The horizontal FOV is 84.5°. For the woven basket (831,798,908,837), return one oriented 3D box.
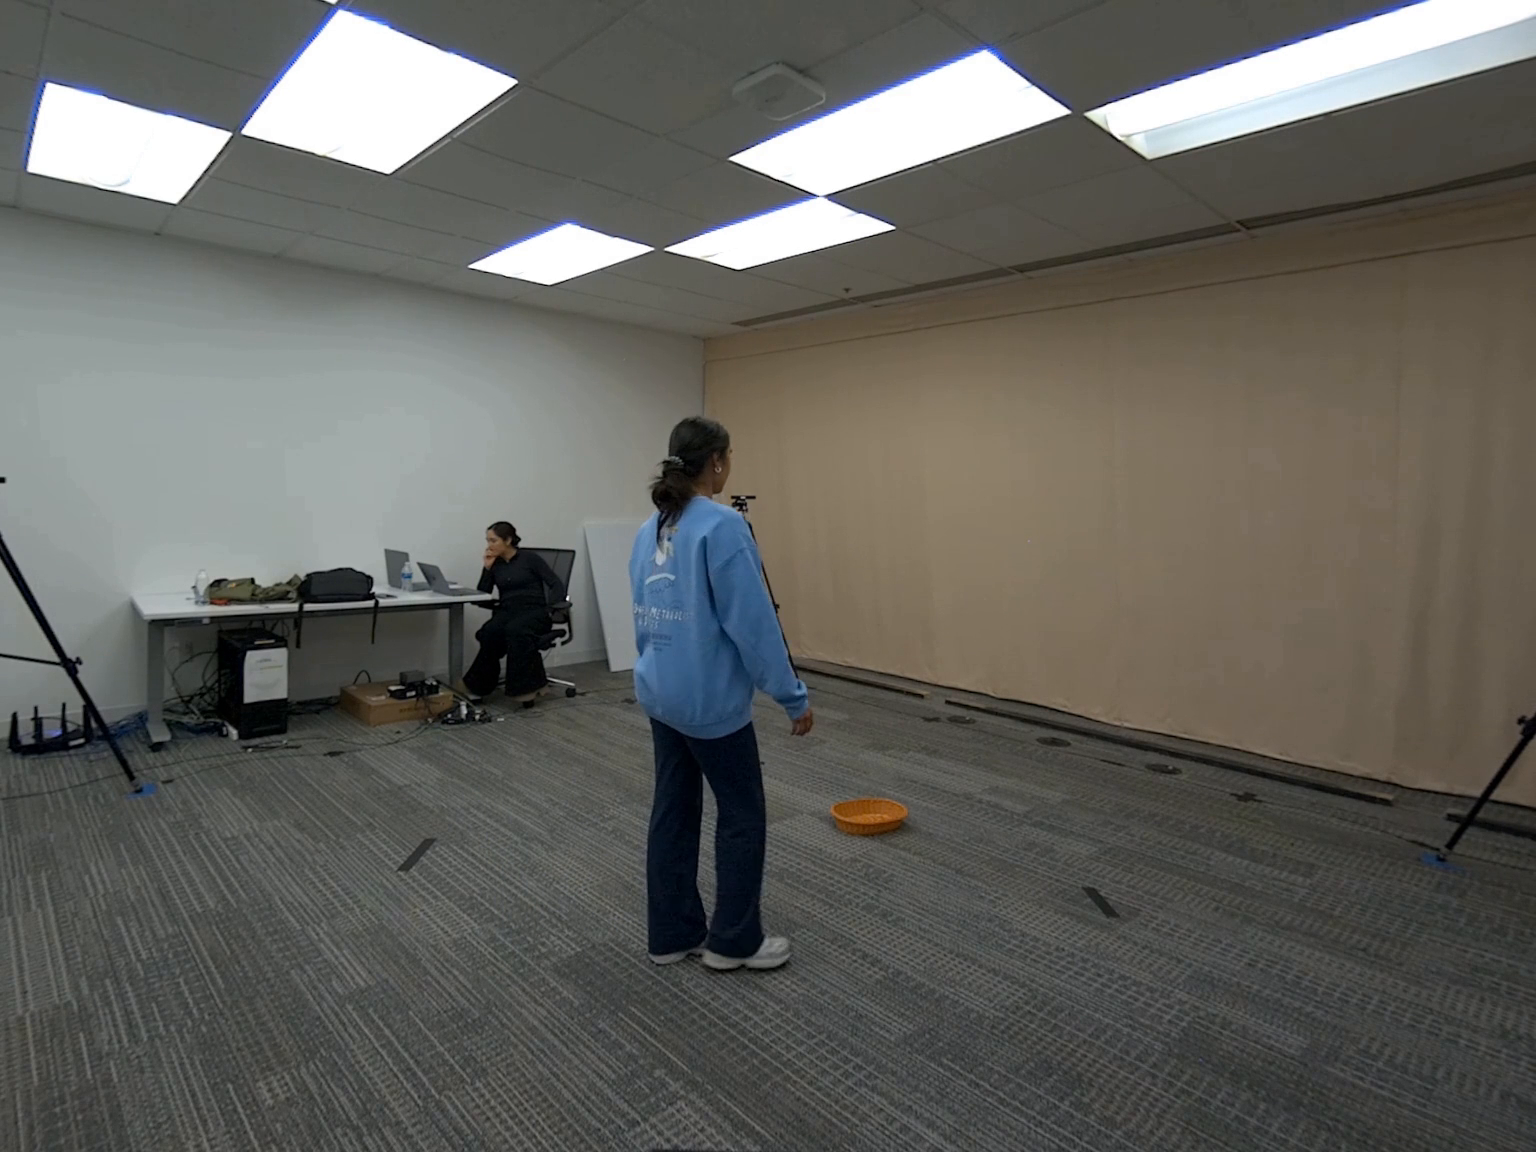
[{"bbox_3d":[0.422,1.029,3.606,0.345,0.073,0.257,-1,6,-22],"label":"woven basket"}]
